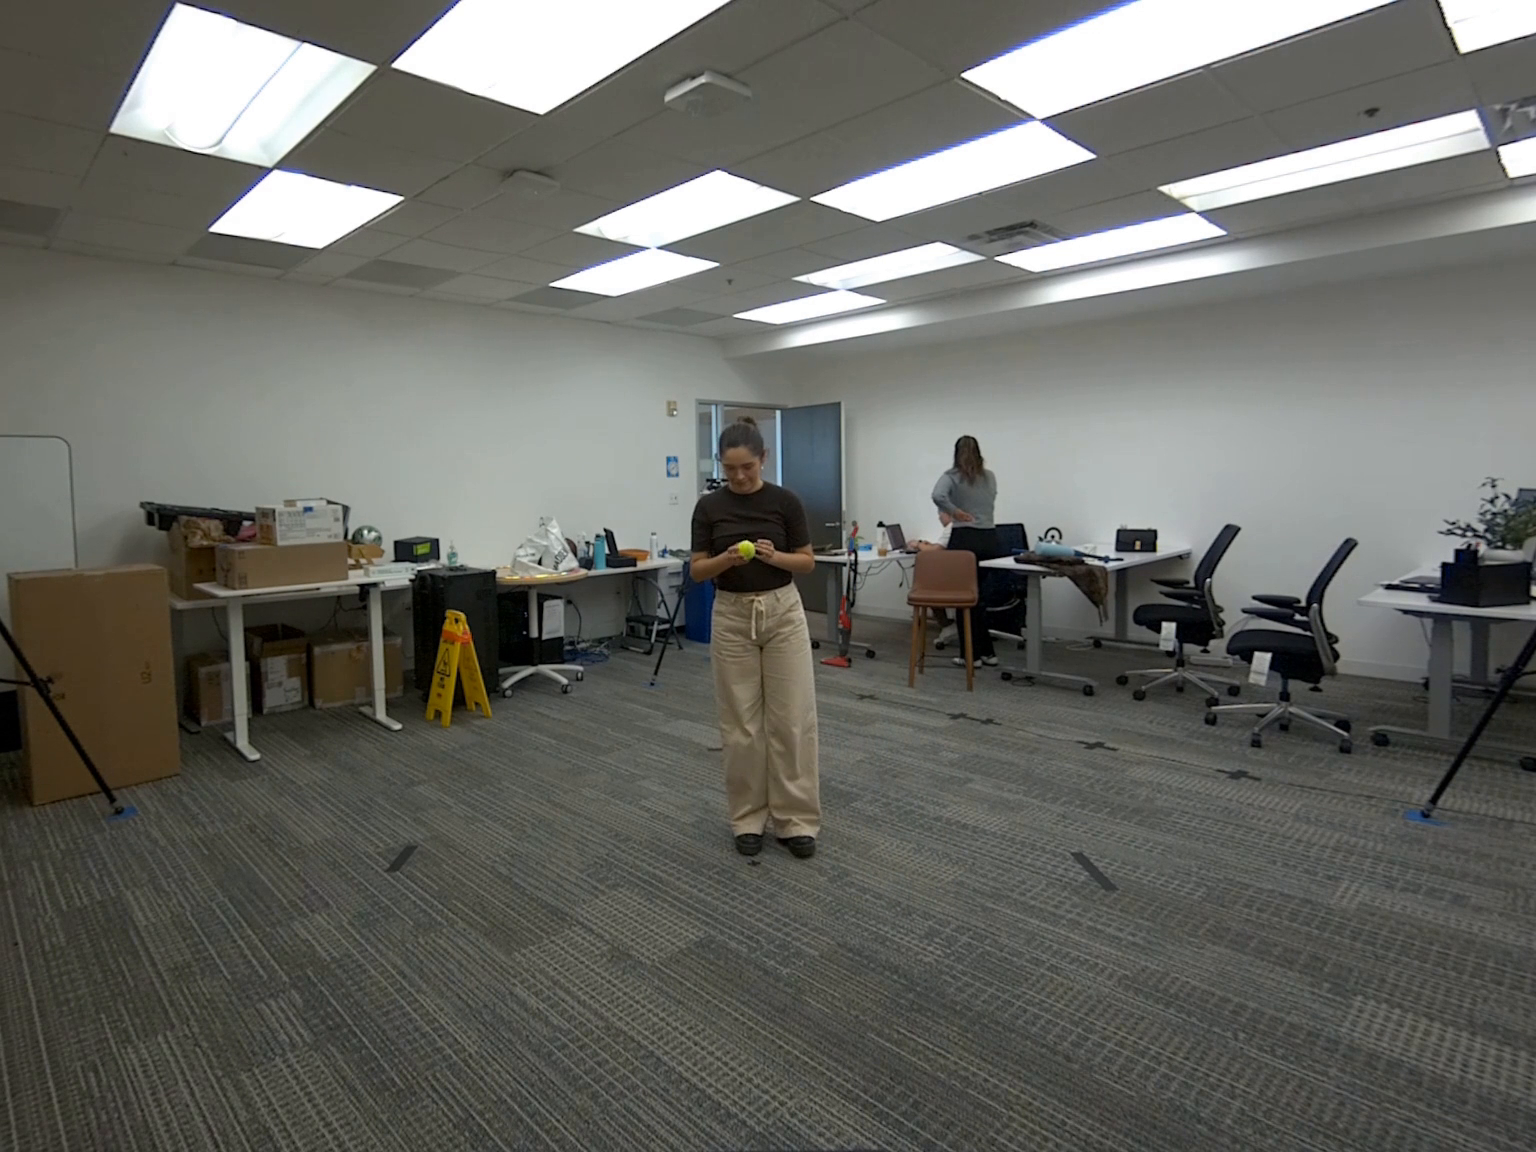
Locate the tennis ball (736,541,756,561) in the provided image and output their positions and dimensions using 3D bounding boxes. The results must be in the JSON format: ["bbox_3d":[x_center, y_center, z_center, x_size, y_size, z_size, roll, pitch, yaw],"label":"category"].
[{"bbox_3d":[-0.076,-0.088,2.996,0.066,0.066,0.067,-1,5,-2],"label":"tennis ball"}]
